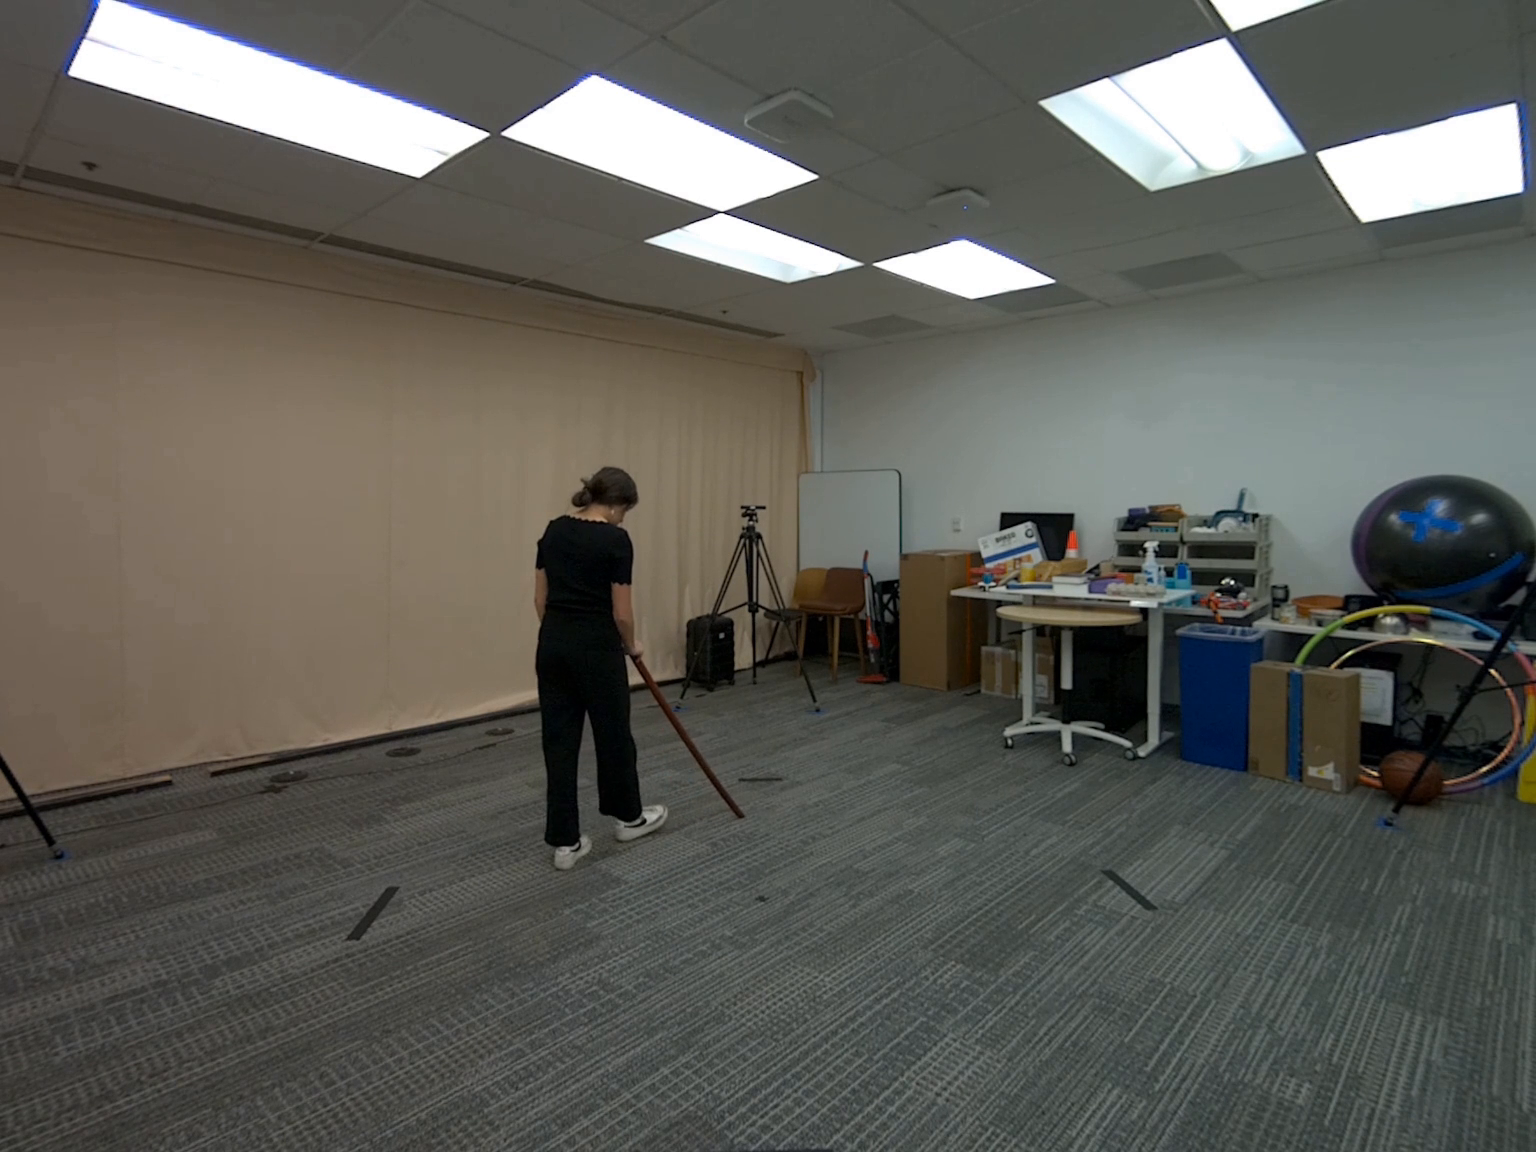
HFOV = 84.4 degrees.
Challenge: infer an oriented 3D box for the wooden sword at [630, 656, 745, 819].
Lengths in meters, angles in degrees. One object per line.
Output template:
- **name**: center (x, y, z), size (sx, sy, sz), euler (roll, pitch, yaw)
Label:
- **wooden sword**: center (-0.363, 0.696, 3.647), size (0.051, 1.007, 0.025), euler (-41, 17, -26)
